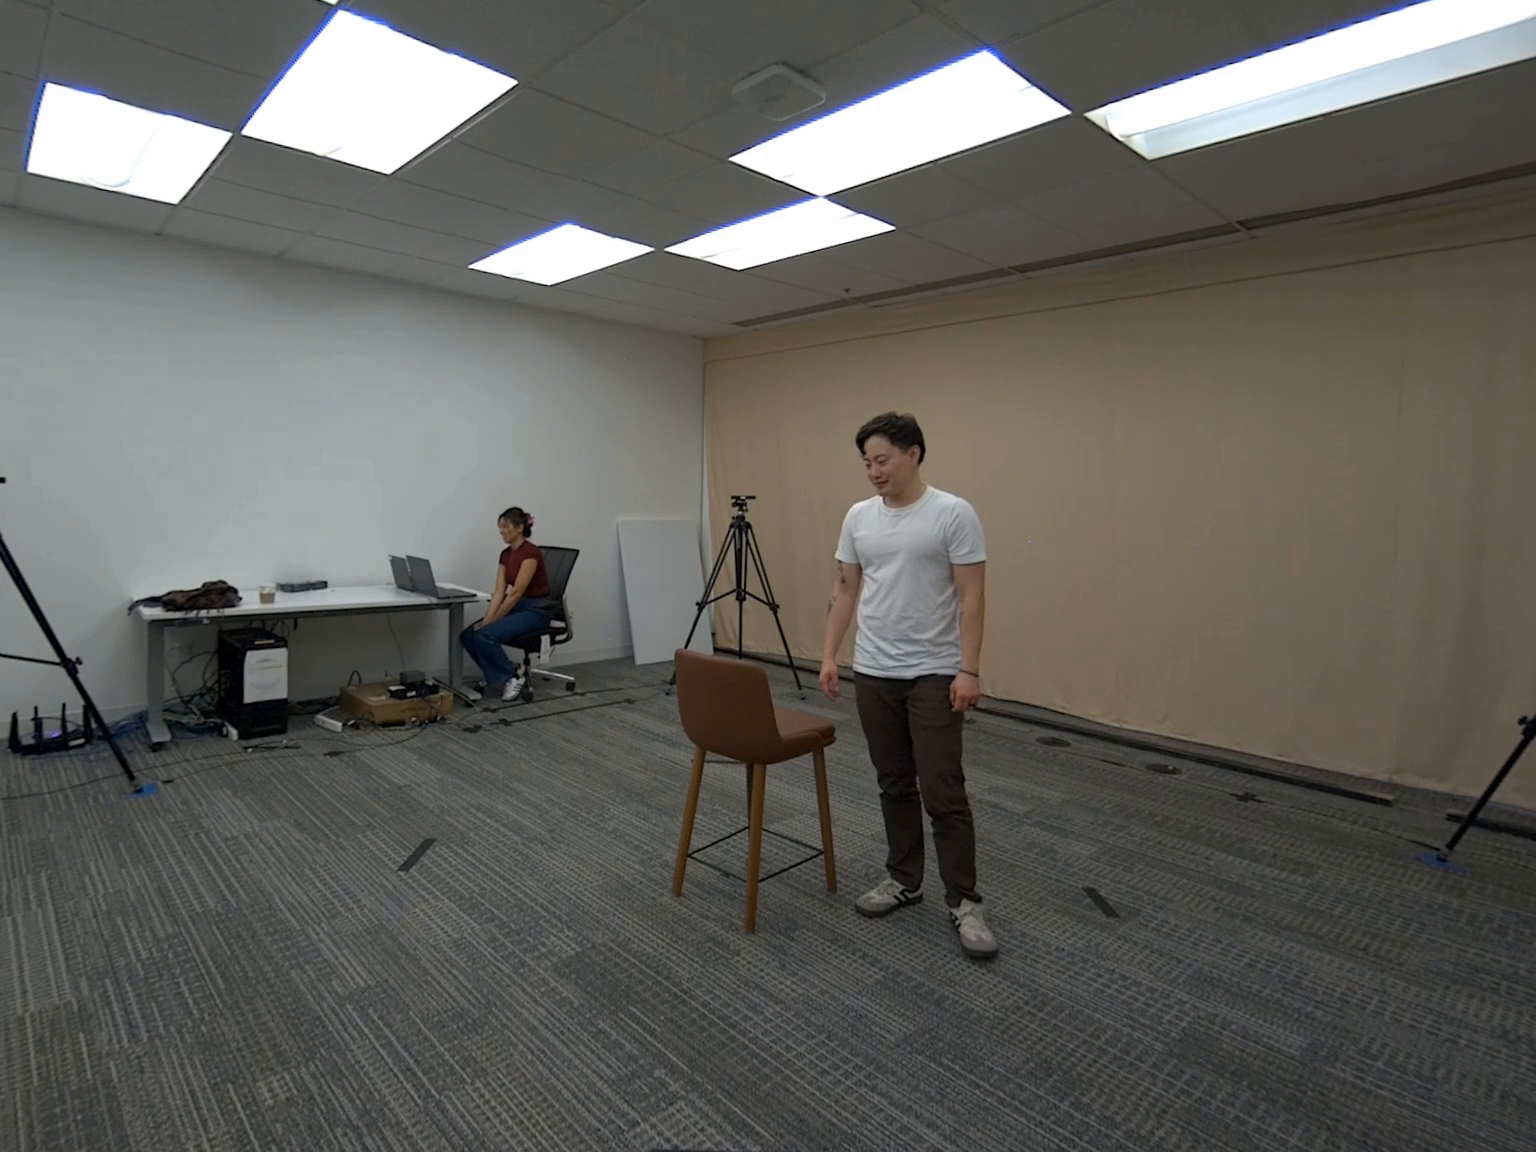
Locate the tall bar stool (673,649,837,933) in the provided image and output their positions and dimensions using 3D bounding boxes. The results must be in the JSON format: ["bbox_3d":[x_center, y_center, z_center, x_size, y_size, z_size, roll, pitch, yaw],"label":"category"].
[{"bbox_3d":[-0.050,0.682,2.943,0.468,0.886,0.457,4,7,42],"label":"tall bar stool"}]
